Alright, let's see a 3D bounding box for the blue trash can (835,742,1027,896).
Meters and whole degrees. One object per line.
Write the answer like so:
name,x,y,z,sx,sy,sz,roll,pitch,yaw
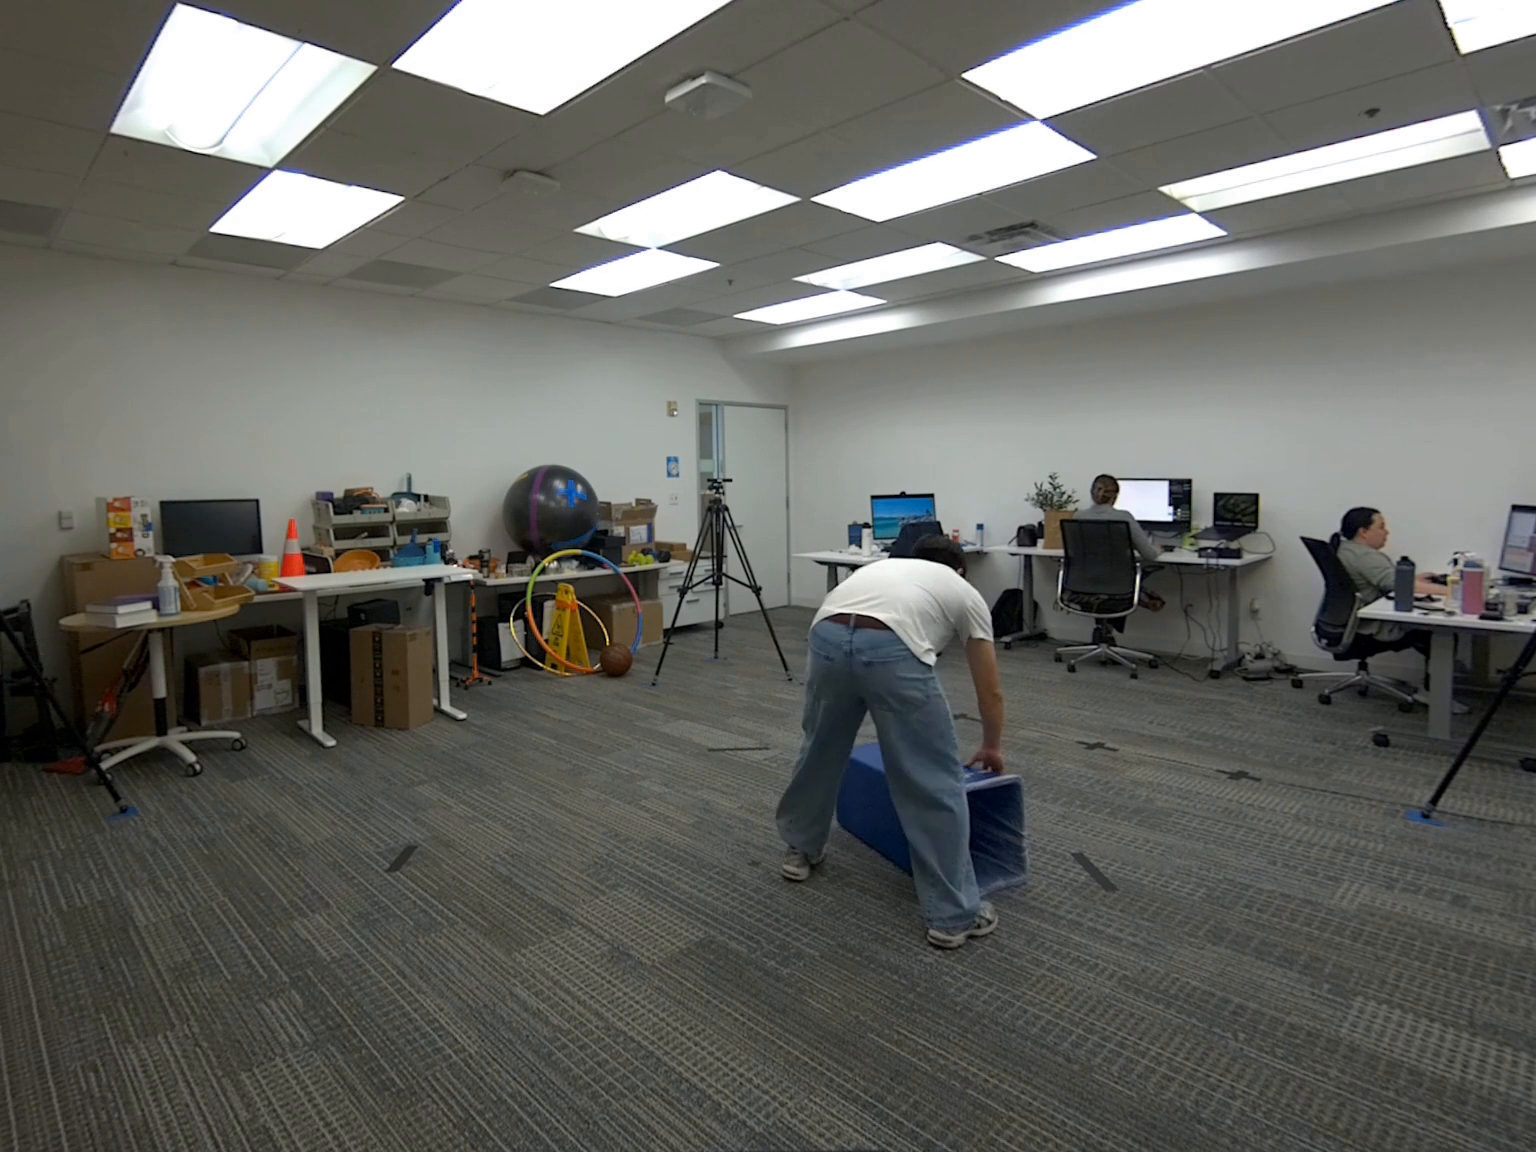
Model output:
blue trash can,0.552,0.861,3.167,0.366,0.377,0.730,-5,4,-26
